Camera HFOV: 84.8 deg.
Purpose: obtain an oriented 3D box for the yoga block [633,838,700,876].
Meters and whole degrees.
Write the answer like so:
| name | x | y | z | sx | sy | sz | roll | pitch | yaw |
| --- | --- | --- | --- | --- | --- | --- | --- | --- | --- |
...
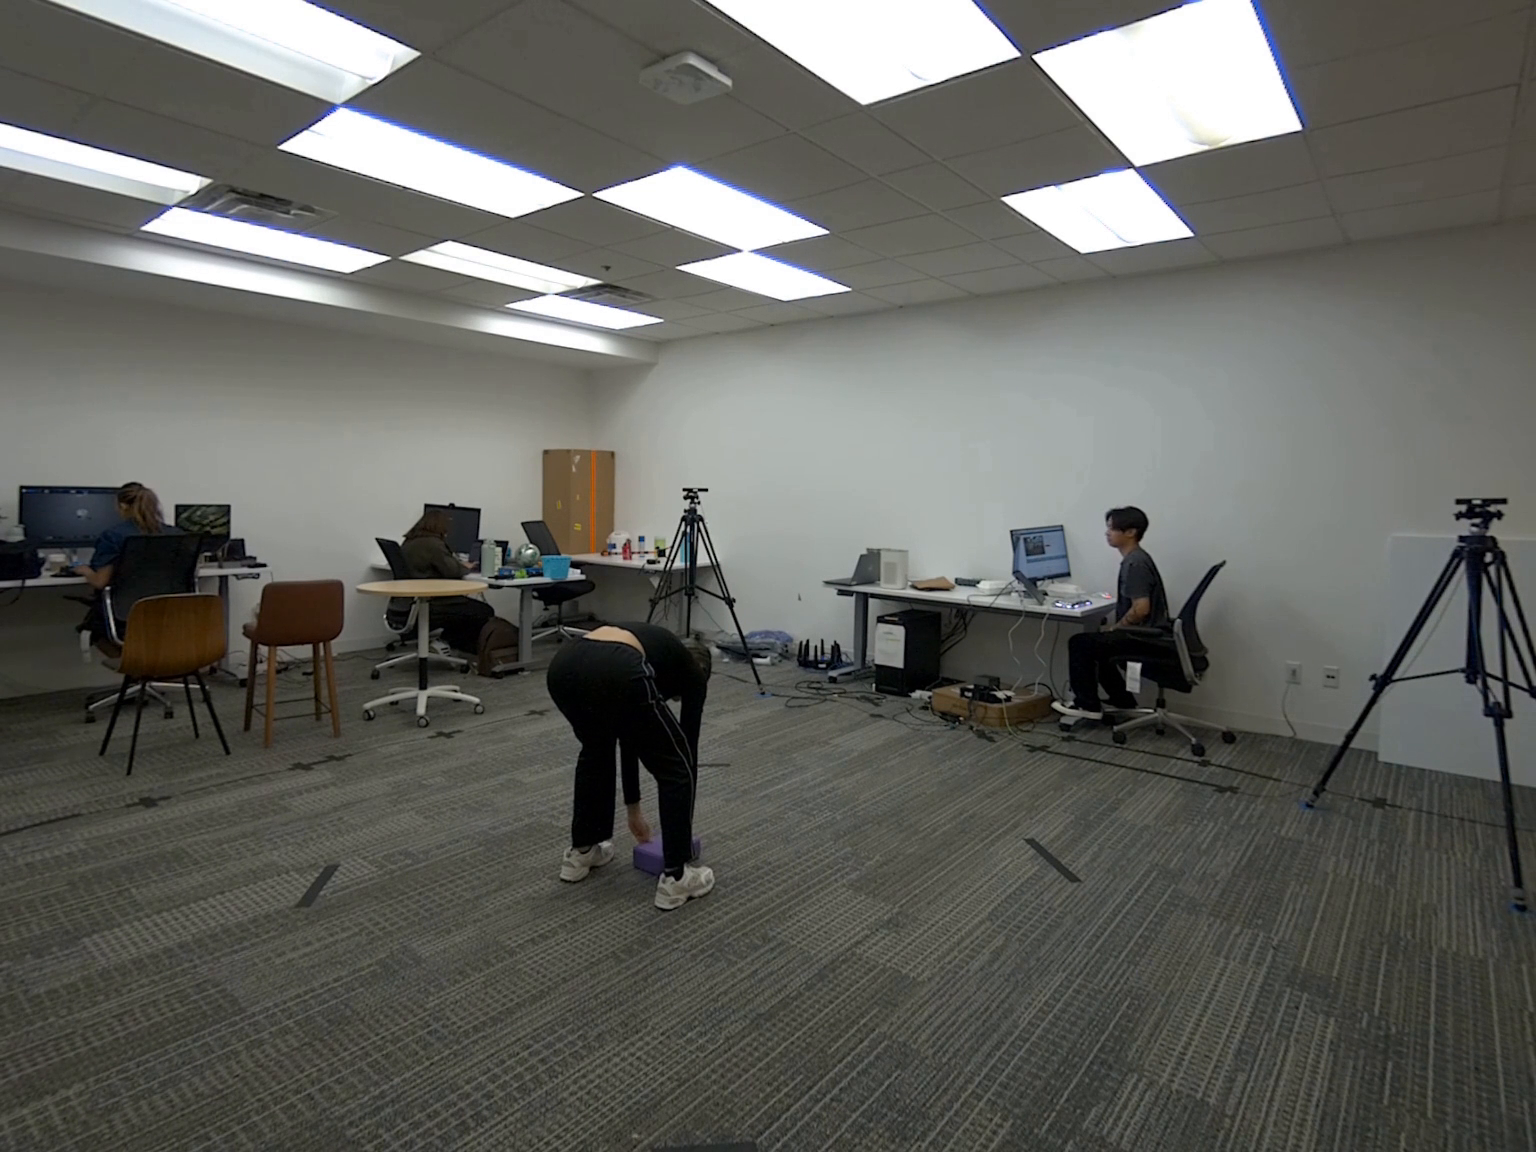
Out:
| name | x | y | z | sx | sy | sz | roll | pitch | yaw |
| --- | --- | --- | --- | --- | --- | --- | --- | --- | --- |
| yoga block | -0.384 | 1.026 | 3.159 | 0.153 | 0.076 | 0.223 | 3 | 5 | 34 |
